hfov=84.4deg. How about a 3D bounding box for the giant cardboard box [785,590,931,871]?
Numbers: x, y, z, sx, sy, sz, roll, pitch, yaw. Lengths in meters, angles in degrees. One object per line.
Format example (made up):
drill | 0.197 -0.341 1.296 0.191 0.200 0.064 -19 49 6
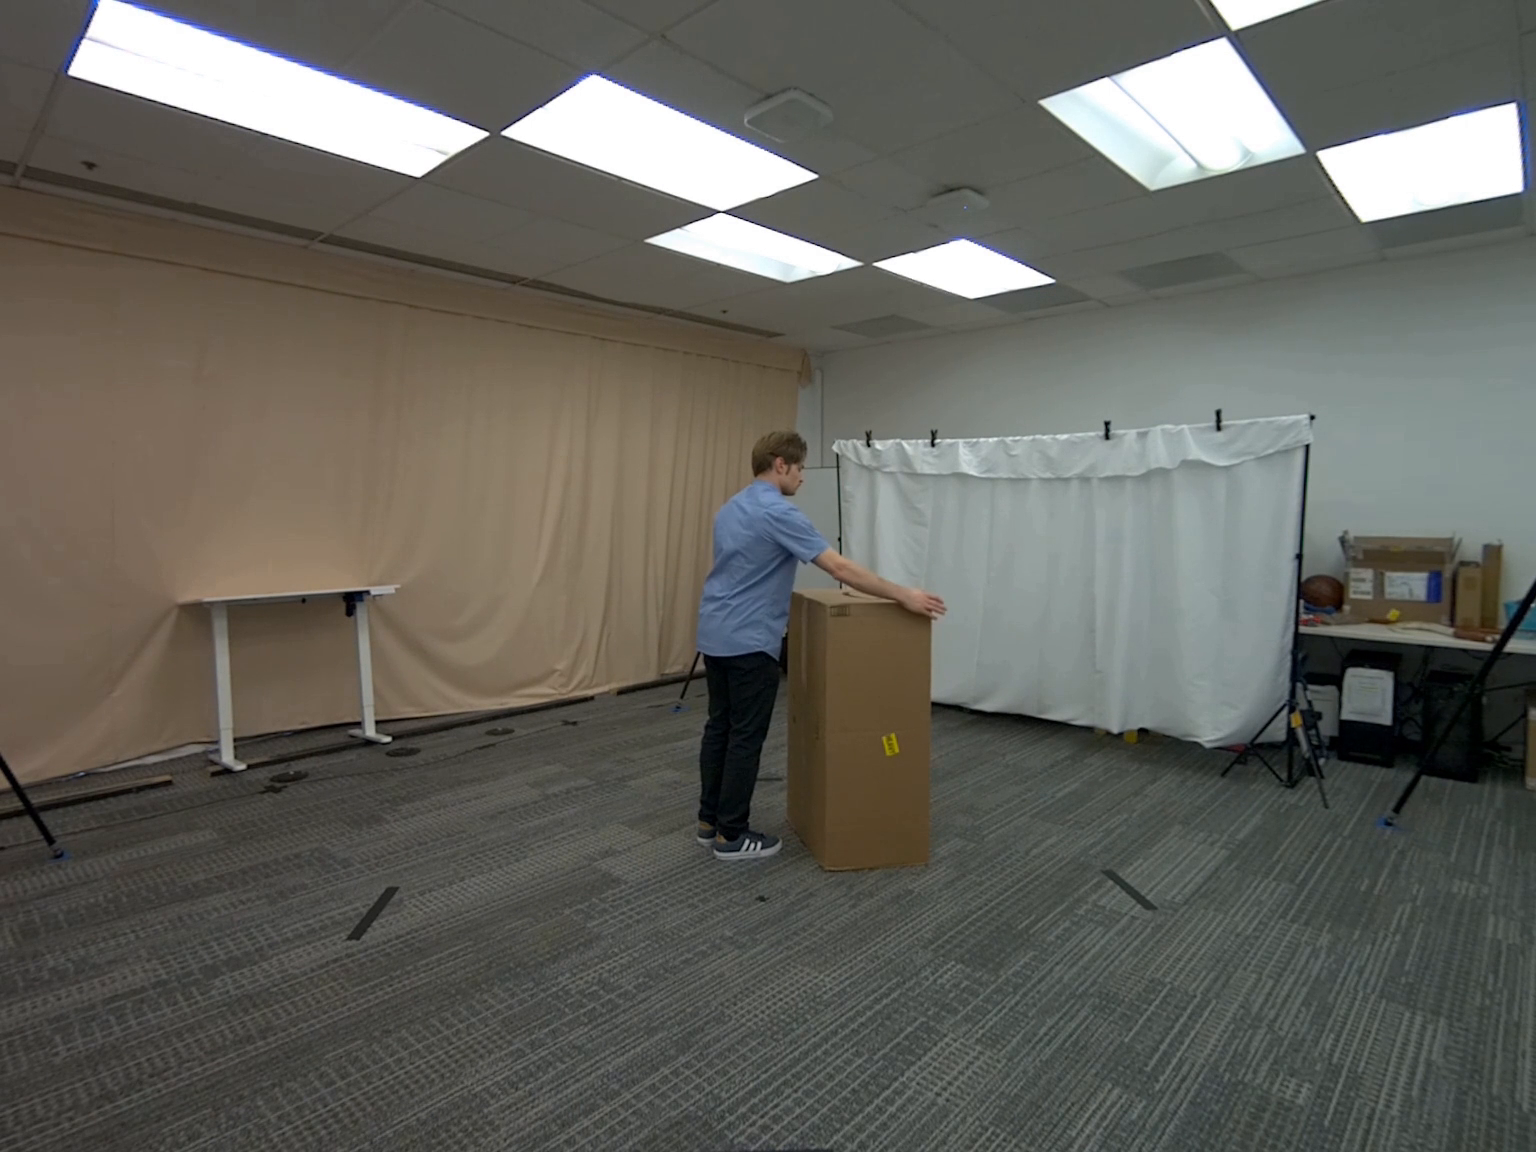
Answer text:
giant cardboard box | 0.362 0.594 3.492 0.421 1.024 0.586 0 3 -13
